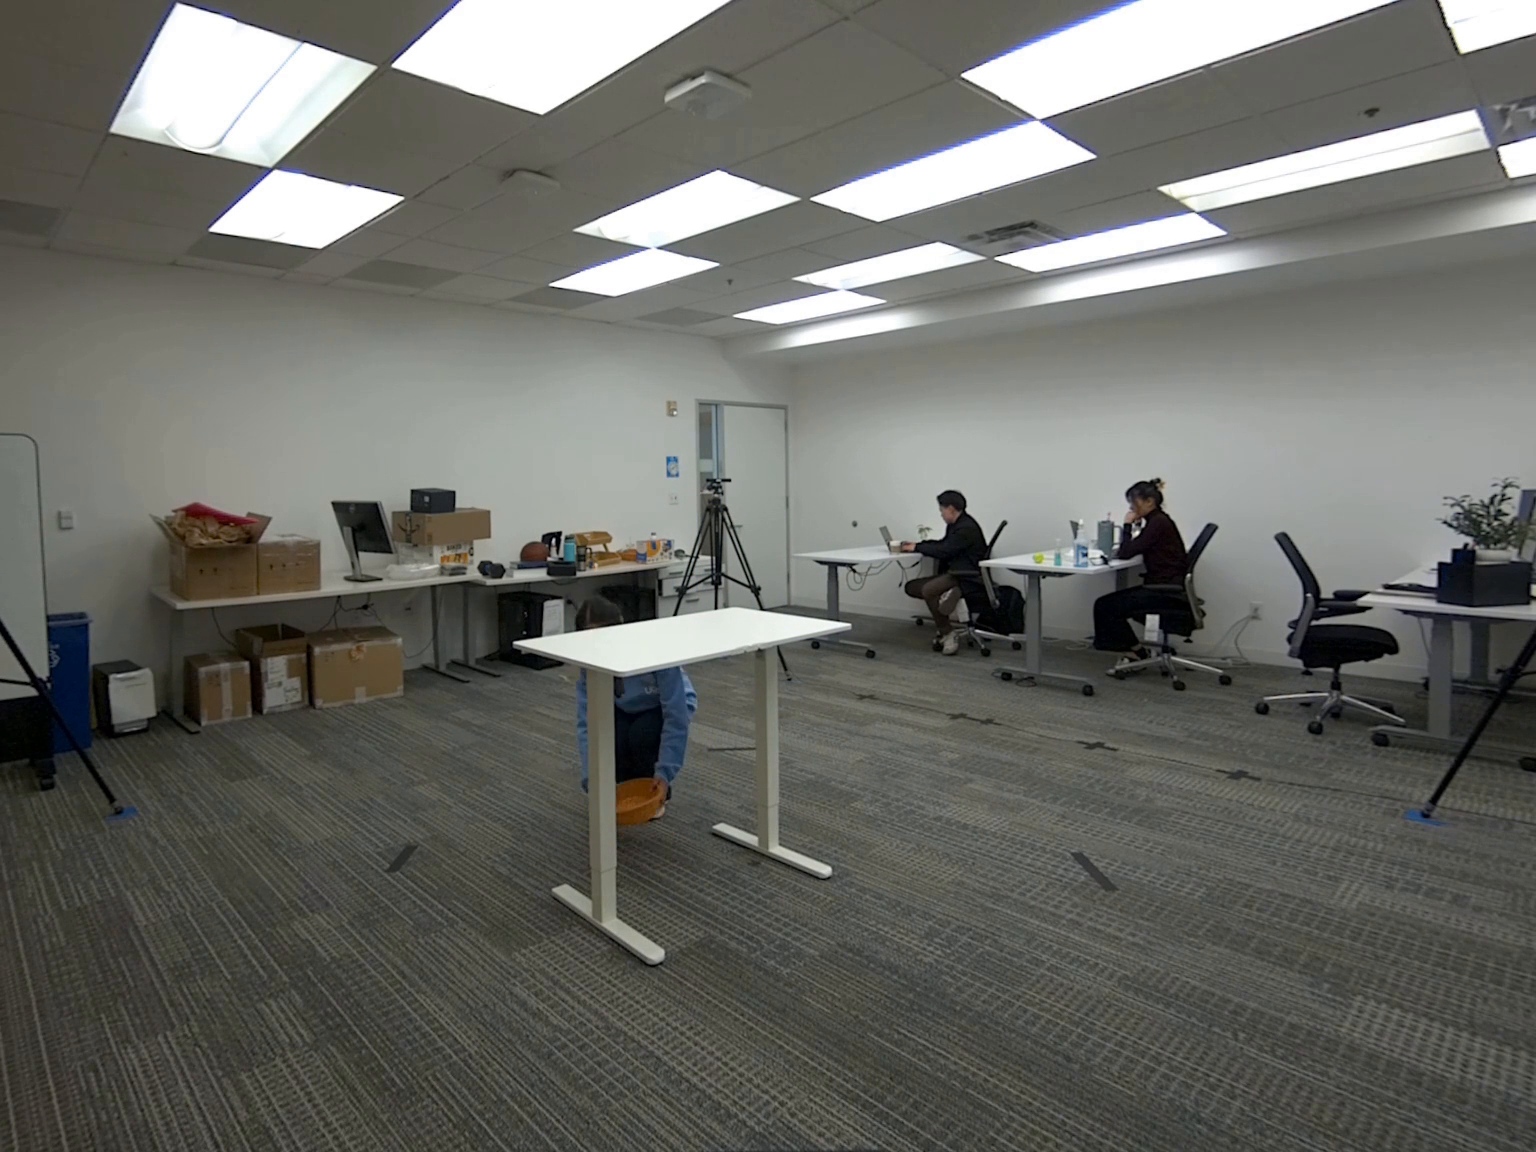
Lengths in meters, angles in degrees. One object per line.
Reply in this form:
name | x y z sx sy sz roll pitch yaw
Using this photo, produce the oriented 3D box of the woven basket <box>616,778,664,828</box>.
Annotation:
woven basket | -0.531 0.864 3.227 0.249 0.073 0.356 -15 6 -17
